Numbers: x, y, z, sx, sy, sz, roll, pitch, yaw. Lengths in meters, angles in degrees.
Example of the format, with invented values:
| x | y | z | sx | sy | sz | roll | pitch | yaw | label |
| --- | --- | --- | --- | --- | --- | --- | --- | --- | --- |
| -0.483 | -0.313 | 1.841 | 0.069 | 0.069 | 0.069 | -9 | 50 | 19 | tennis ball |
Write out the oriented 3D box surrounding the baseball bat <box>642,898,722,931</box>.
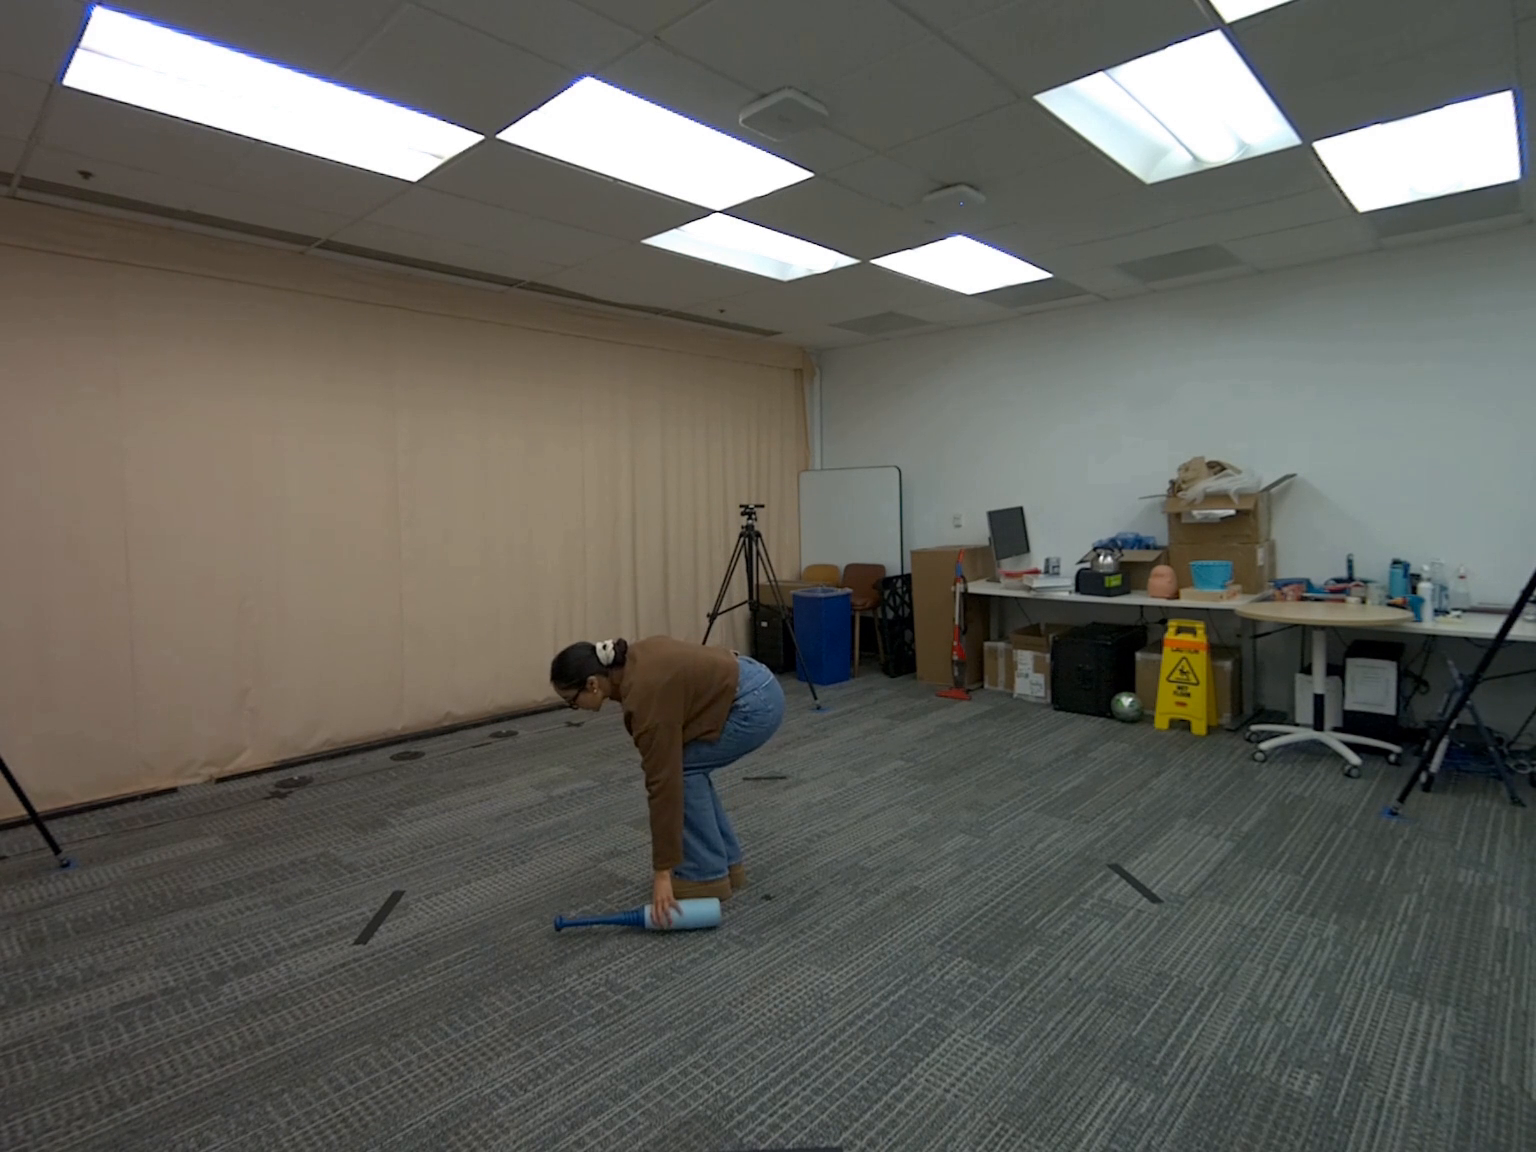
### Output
| x | y | z | sx | sy | sz | roll | pitch | yaw | label |
| --- | --- | --- | --- | --- | --- | --- | --- | --- | --- |
| -0.430 | 1.112 | 2.746 | 0.541 | 0.089 | 0.089 | -3 | 4 | -3 | baseball bat |
